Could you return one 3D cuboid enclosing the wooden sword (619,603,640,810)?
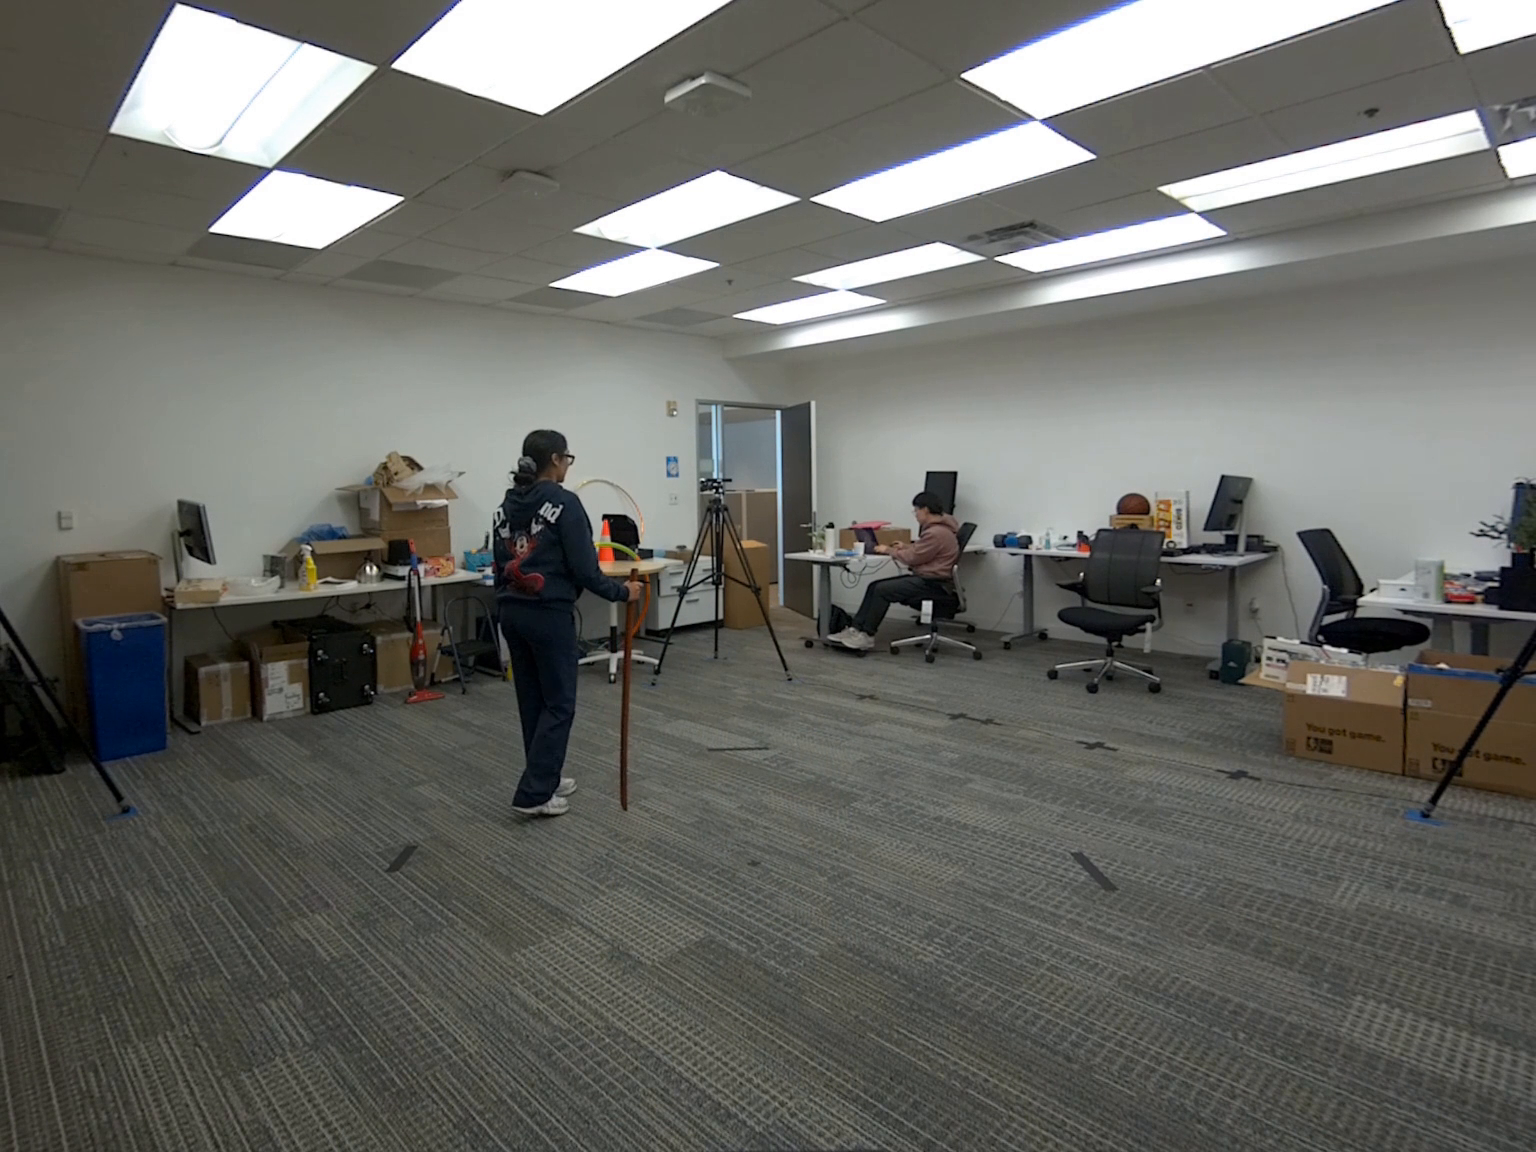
[{"bbox_3d":[-0.606,0.498,3.670,0.052,1.029,0.023,-2,-5,34],"label":"wooden sword"}]
